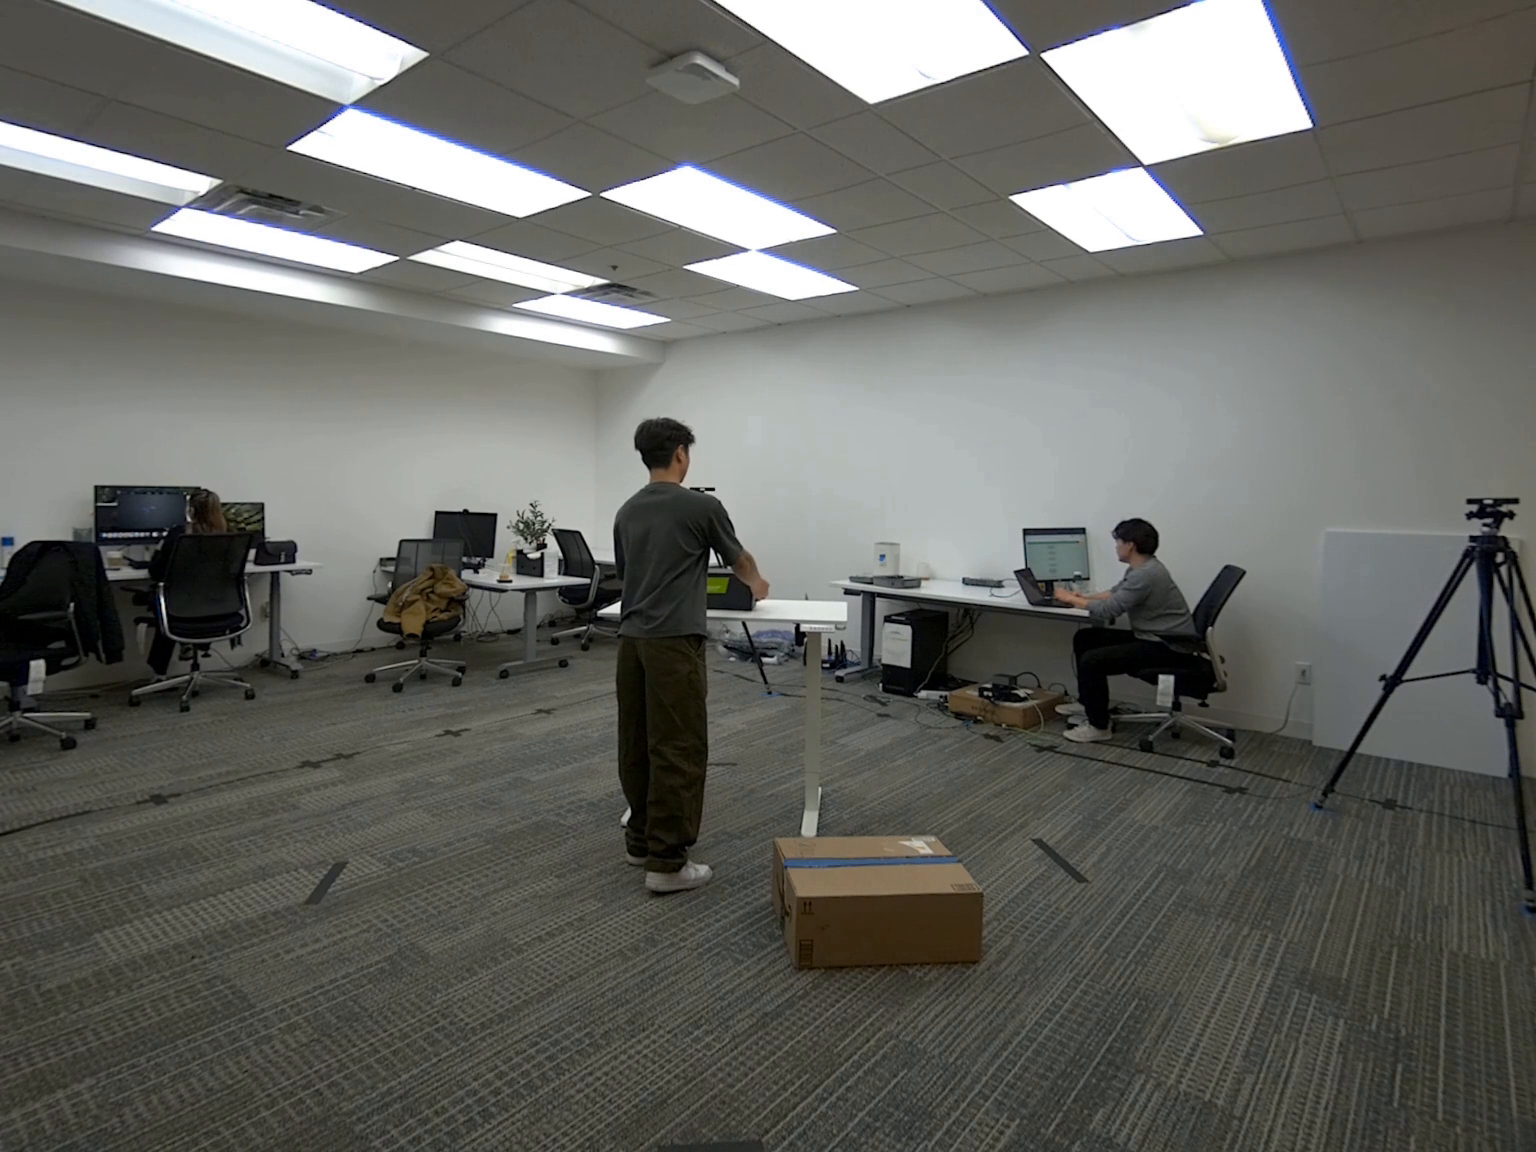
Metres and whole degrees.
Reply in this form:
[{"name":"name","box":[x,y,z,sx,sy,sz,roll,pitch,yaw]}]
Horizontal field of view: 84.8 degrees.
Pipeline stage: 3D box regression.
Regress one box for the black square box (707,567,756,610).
[{"name":"black square box","box":[-0.182,0.049,3.664,0.230,0.155,0.216,0,4,7]}]
